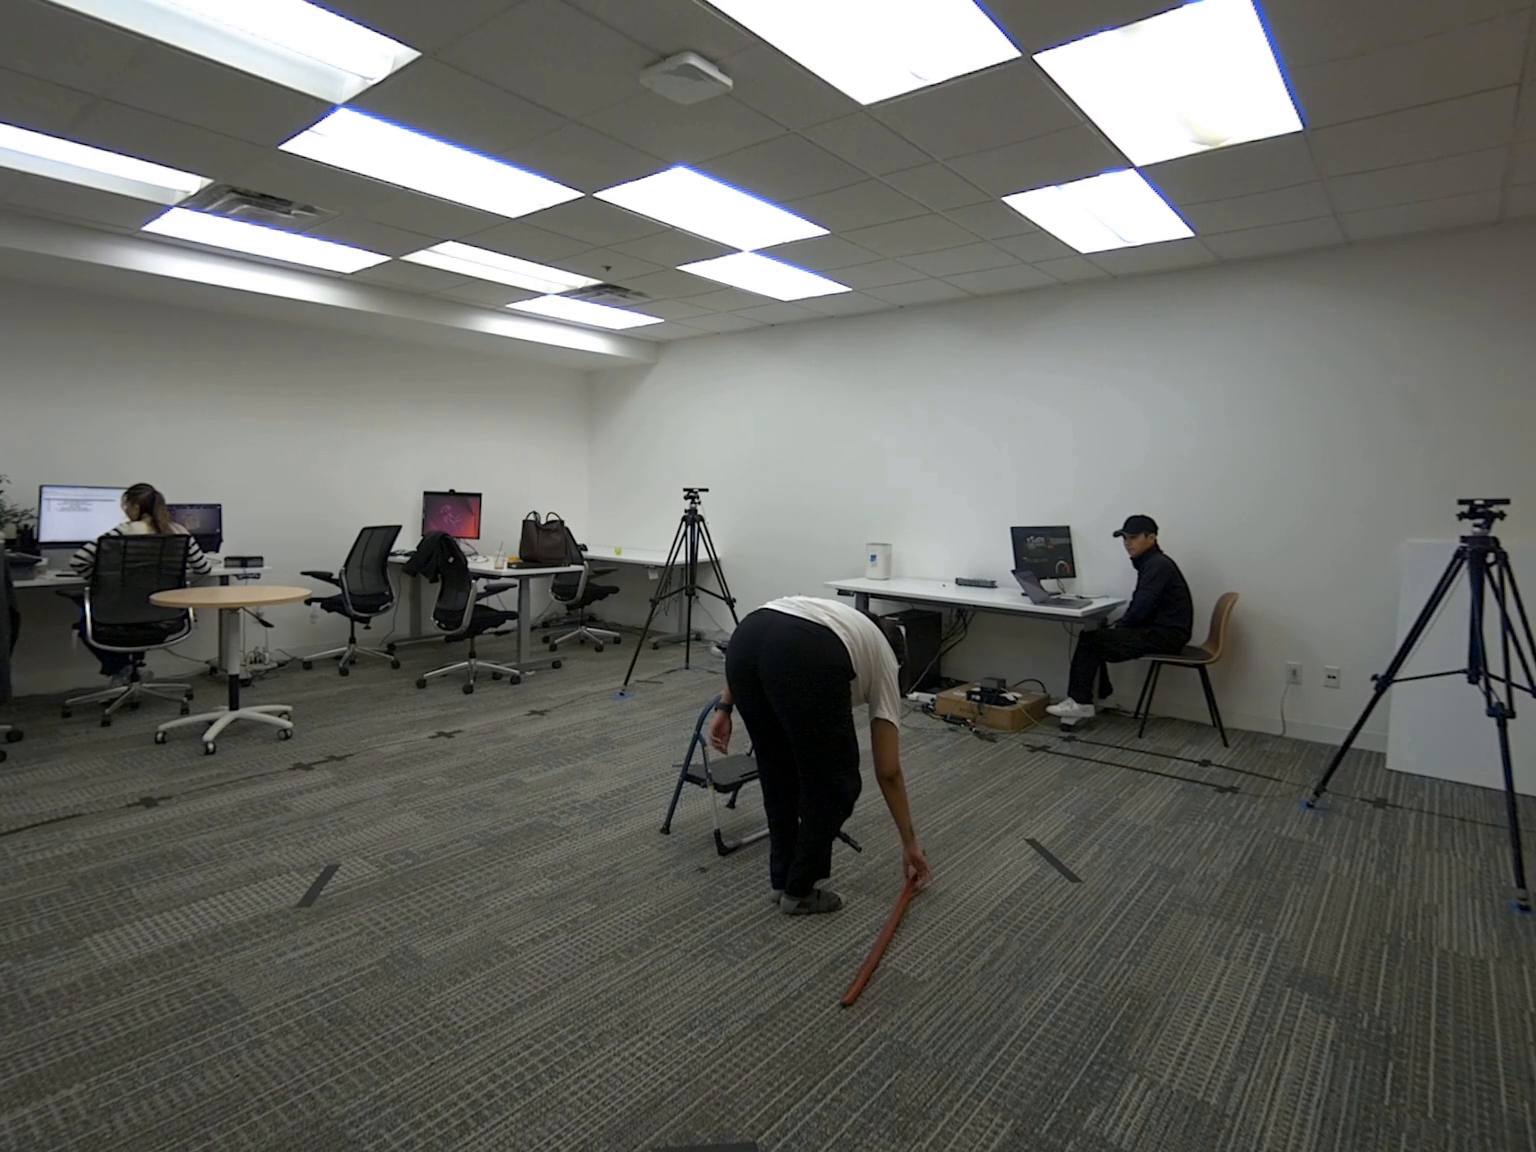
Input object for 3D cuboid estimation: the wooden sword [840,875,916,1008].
[{"bbox_3d":[0.393,1.088,2.751,0.052,0.024,1.005,-28,-5,23],"label":"wooden sword"}]
